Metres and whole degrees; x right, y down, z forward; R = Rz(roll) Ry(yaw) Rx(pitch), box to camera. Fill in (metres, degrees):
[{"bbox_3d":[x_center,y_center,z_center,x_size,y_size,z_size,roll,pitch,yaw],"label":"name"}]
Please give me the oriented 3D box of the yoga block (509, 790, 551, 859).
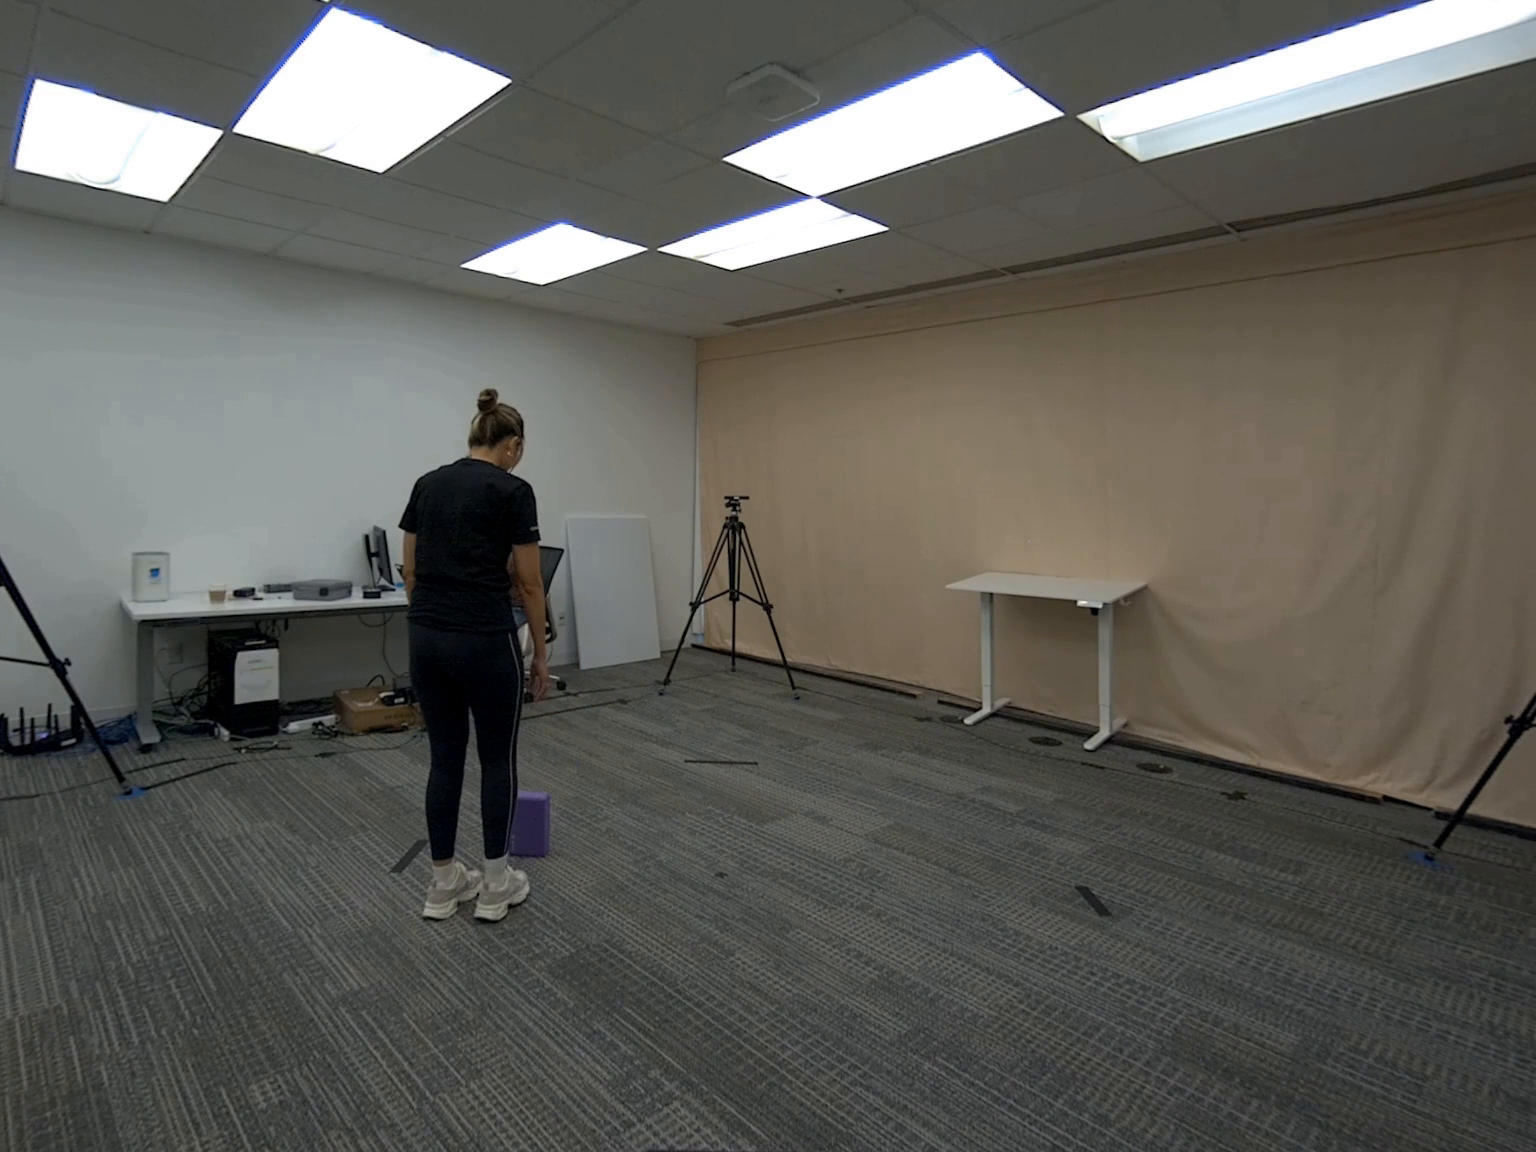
[{"bbox_3d":[-0.931,0.959,3.252,0.150,0.229,0.076,3,4,6],"label":"yoga block"}]
